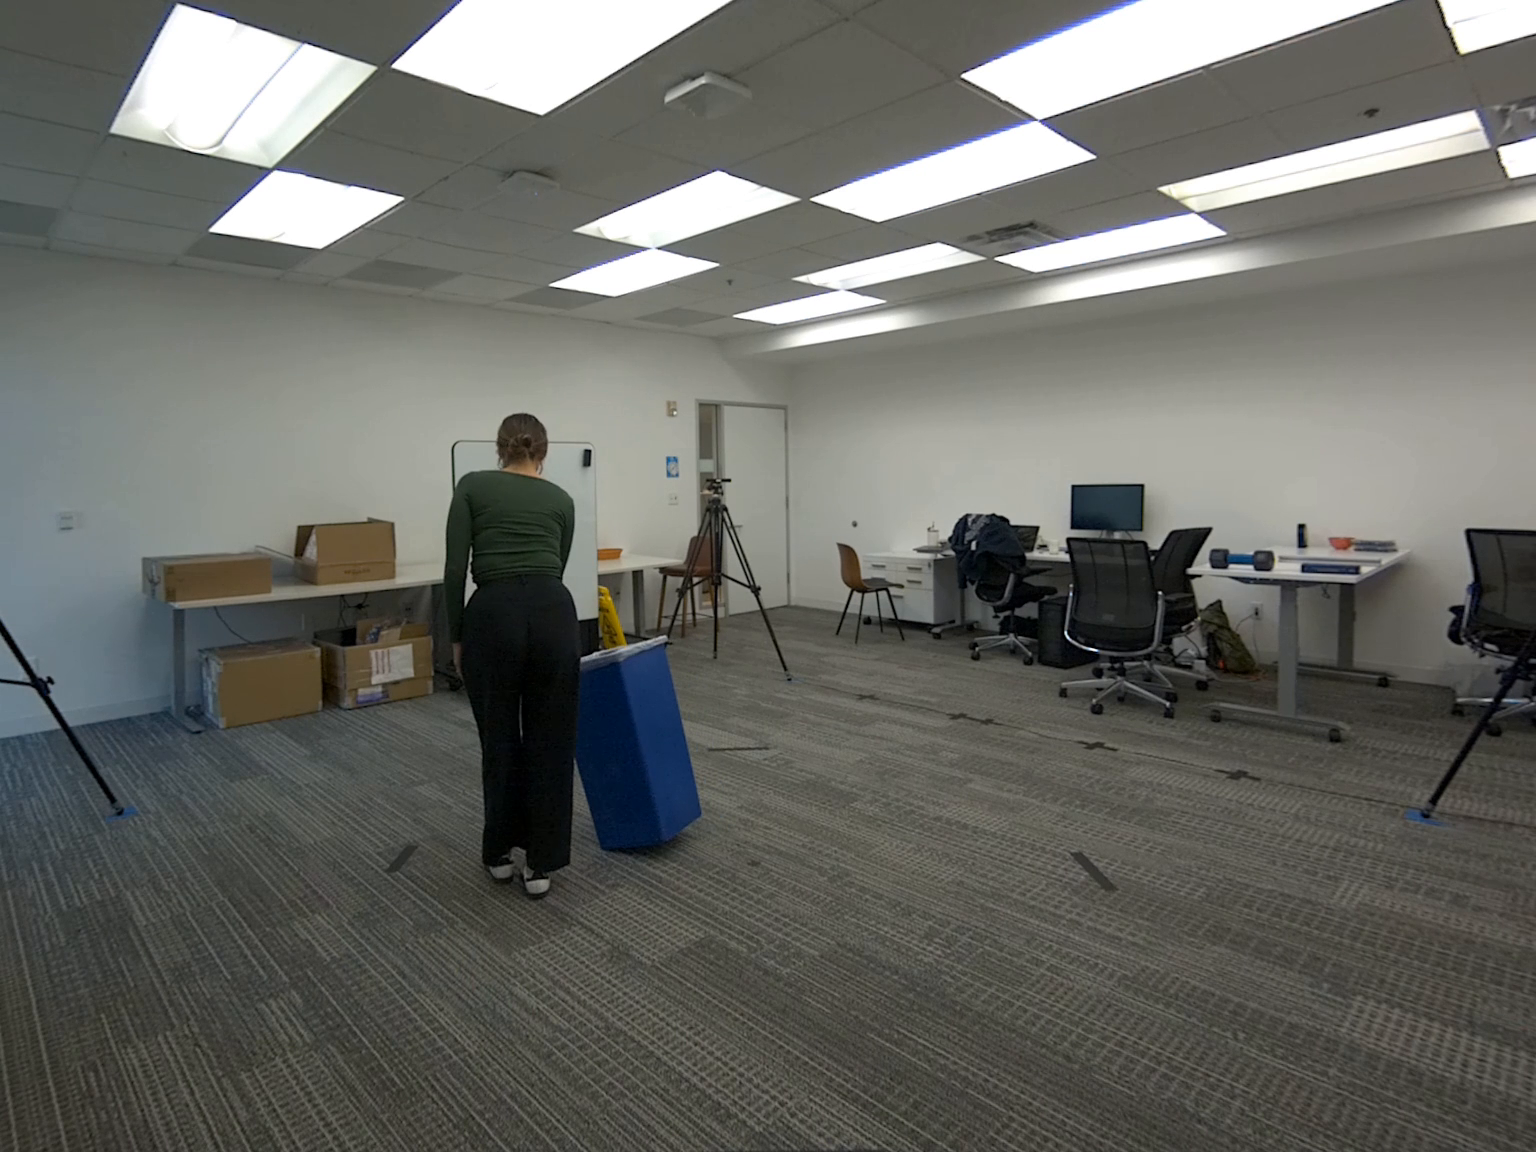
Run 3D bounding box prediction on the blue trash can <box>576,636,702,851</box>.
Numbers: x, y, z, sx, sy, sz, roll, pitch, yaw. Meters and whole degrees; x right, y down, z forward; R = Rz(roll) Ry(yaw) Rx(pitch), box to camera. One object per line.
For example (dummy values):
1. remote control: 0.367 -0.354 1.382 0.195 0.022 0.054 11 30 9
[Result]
1. blue trash can: -0.534 0.645 3.329 0.380 0.717 0.371 -17 -4 24
